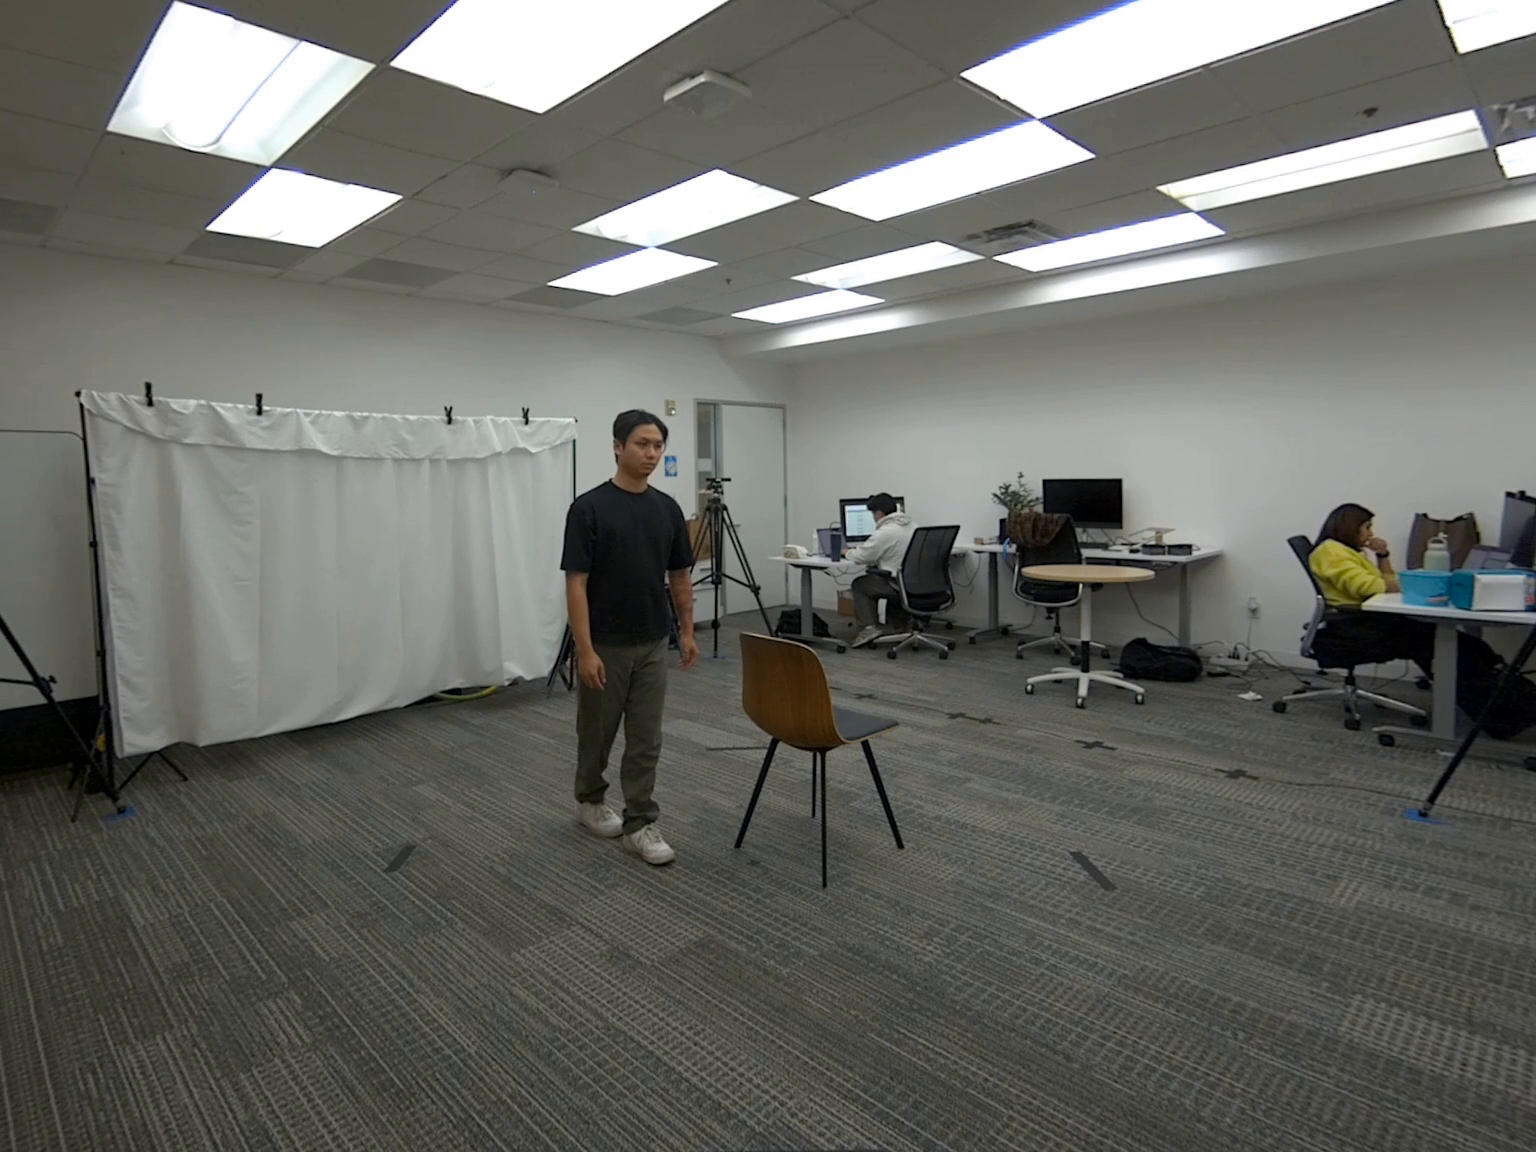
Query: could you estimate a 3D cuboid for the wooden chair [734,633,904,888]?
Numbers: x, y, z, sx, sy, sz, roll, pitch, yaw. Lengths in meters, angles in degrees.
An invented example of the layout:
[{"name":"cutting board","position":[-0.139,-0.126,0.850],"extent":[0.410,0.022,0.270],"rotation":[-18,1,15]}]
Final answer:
[{"name":"wooden chair","position":[0.192,0.598,3.188],"extent":[0.511,0.871,0.493],"rotation":[-11,10,-43]}]
